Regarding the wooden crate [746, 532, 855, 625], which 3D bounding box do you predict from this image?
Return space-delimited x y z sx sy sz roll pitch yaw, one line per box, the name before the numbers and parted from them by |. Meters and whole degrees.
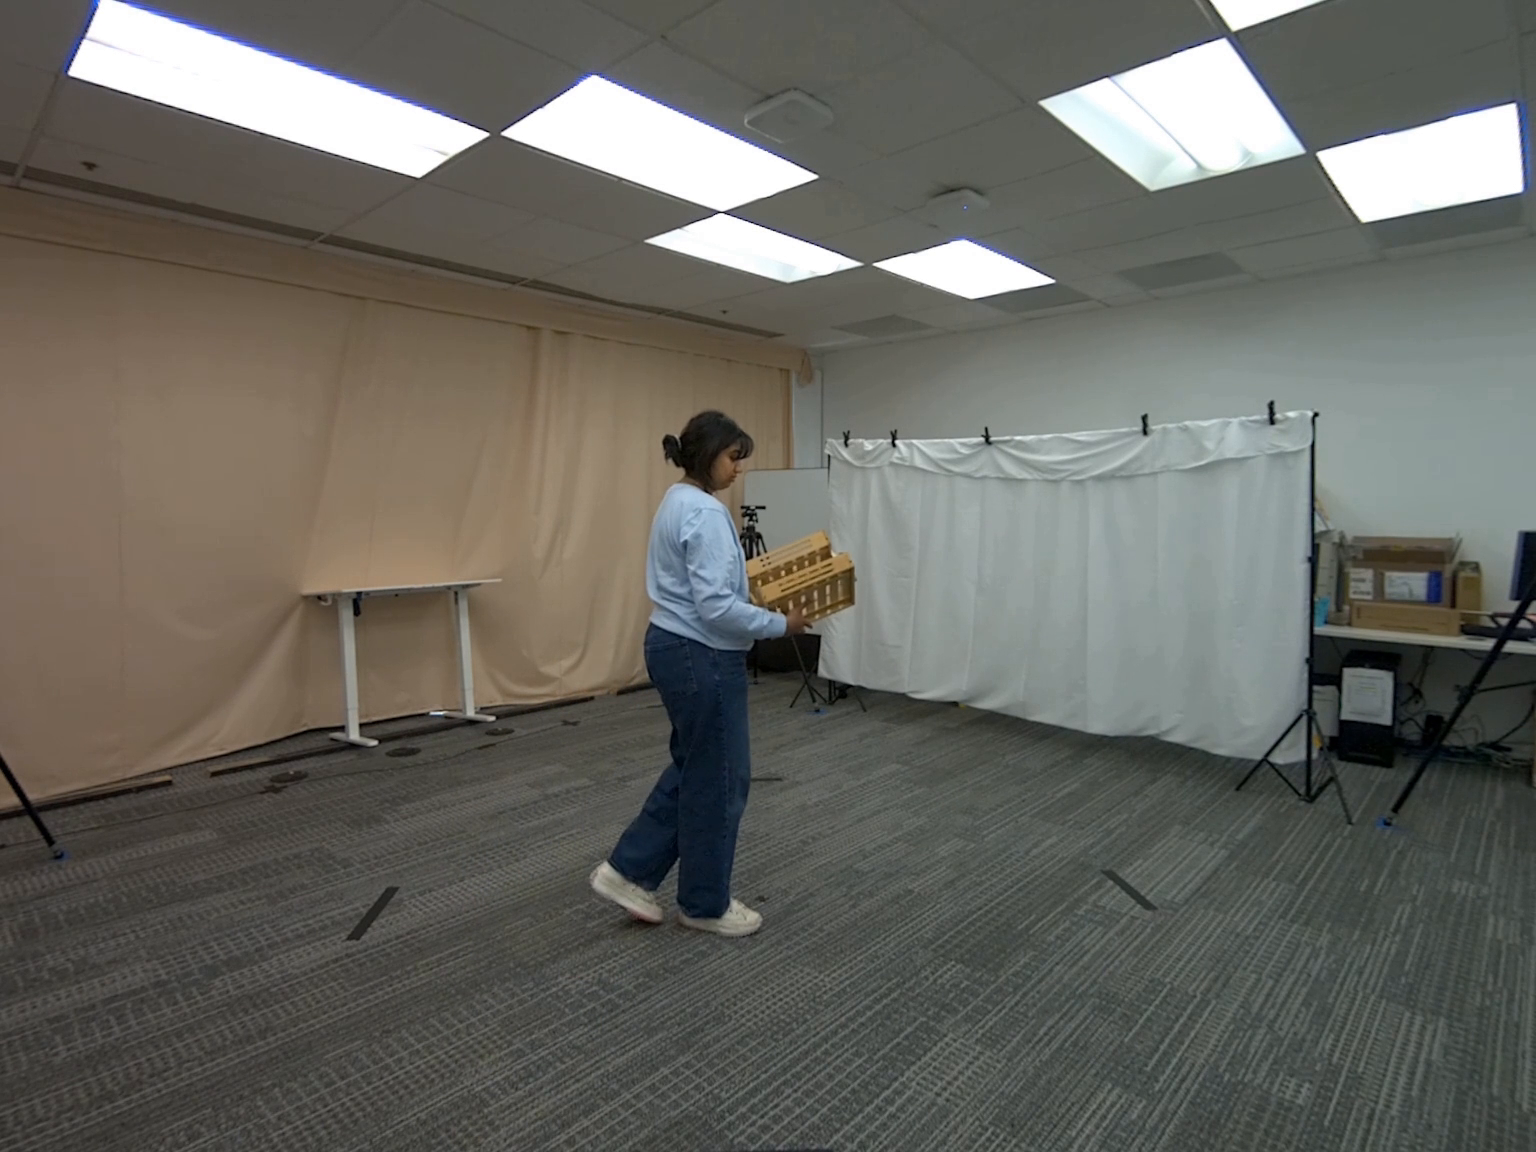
wooden crate | 0.091 -0.004 2.747 0.323 0.281 0.295 -22 -35 -7
